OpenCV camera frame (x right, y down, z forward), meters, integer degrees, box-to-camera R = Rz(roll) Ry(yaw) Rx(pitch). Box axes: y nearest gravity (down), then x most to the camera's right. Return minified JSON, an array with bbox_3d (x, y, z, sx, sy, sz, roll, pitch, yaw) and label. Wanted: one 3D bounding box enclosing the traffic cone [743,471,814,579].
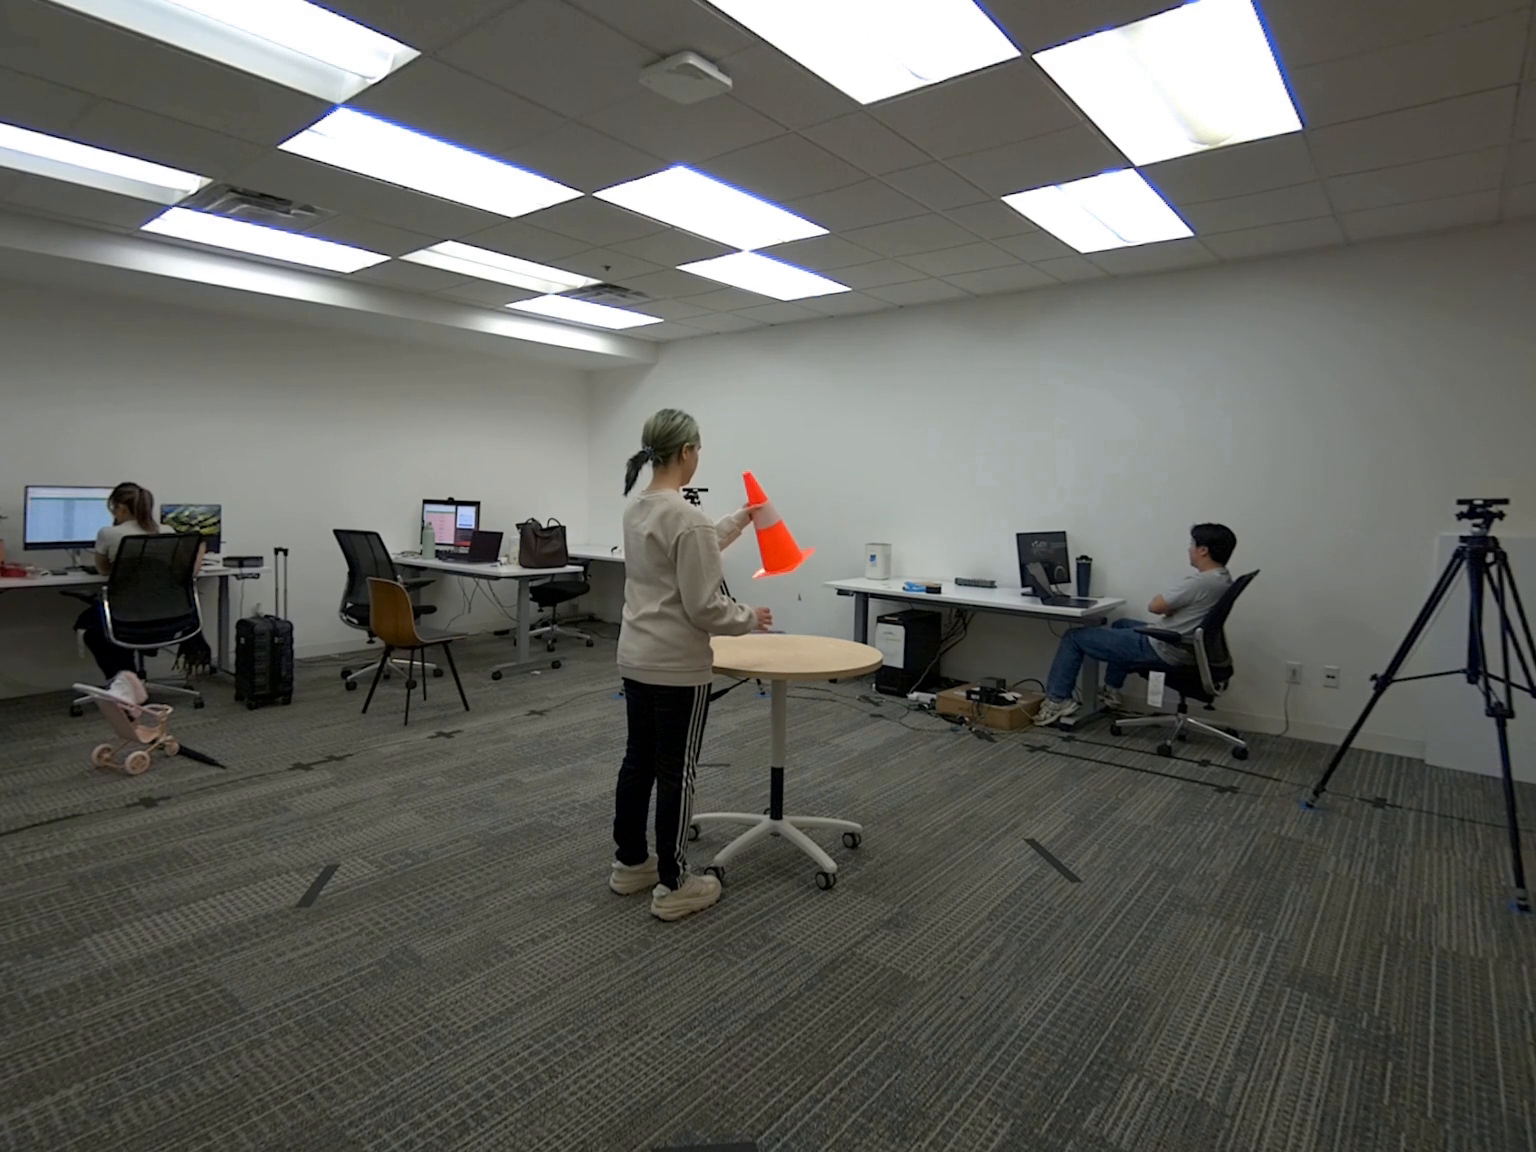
[{"bbox_3d":[-0.020,-0.219,3.179,0.210,0.376,0.202,-12,19,37],"label":"traffic cone"}]
